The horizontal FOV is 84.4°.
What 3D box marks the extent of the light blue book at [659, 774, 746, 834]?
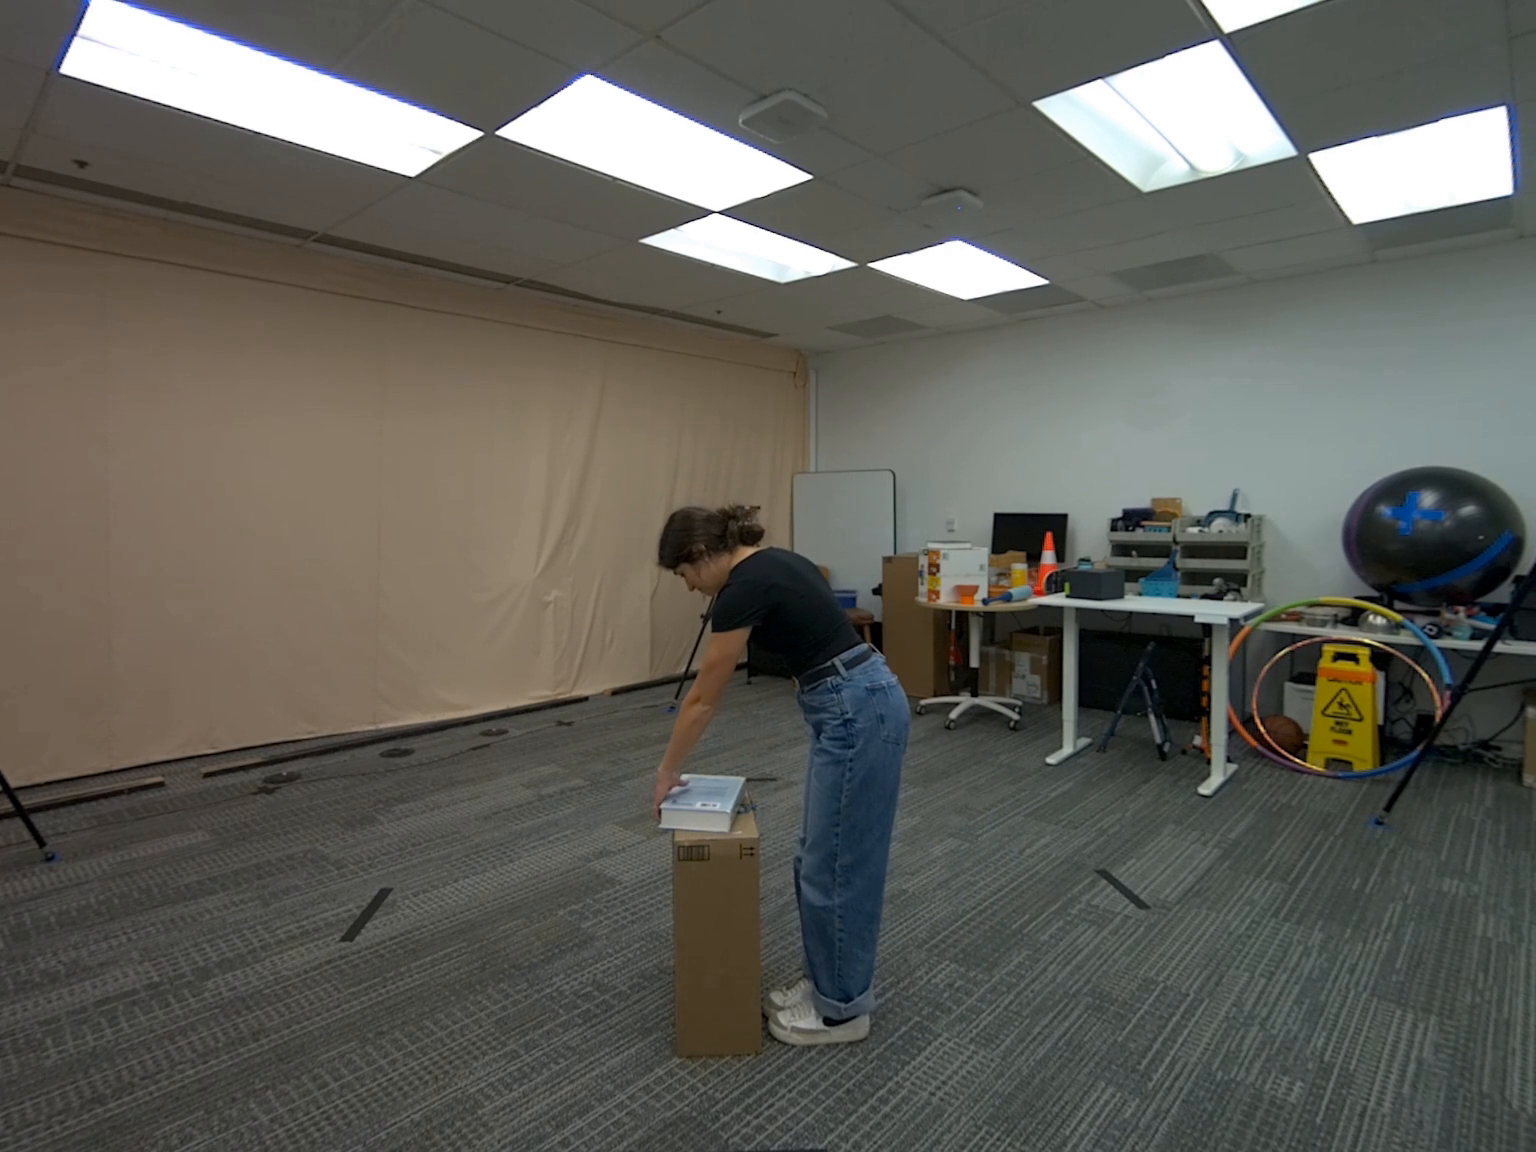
[{"bbox_3d":[-0.159,0.618,2.281,0.193,0.059,0.259,-1,5,9],"label":"light blue book"}]
